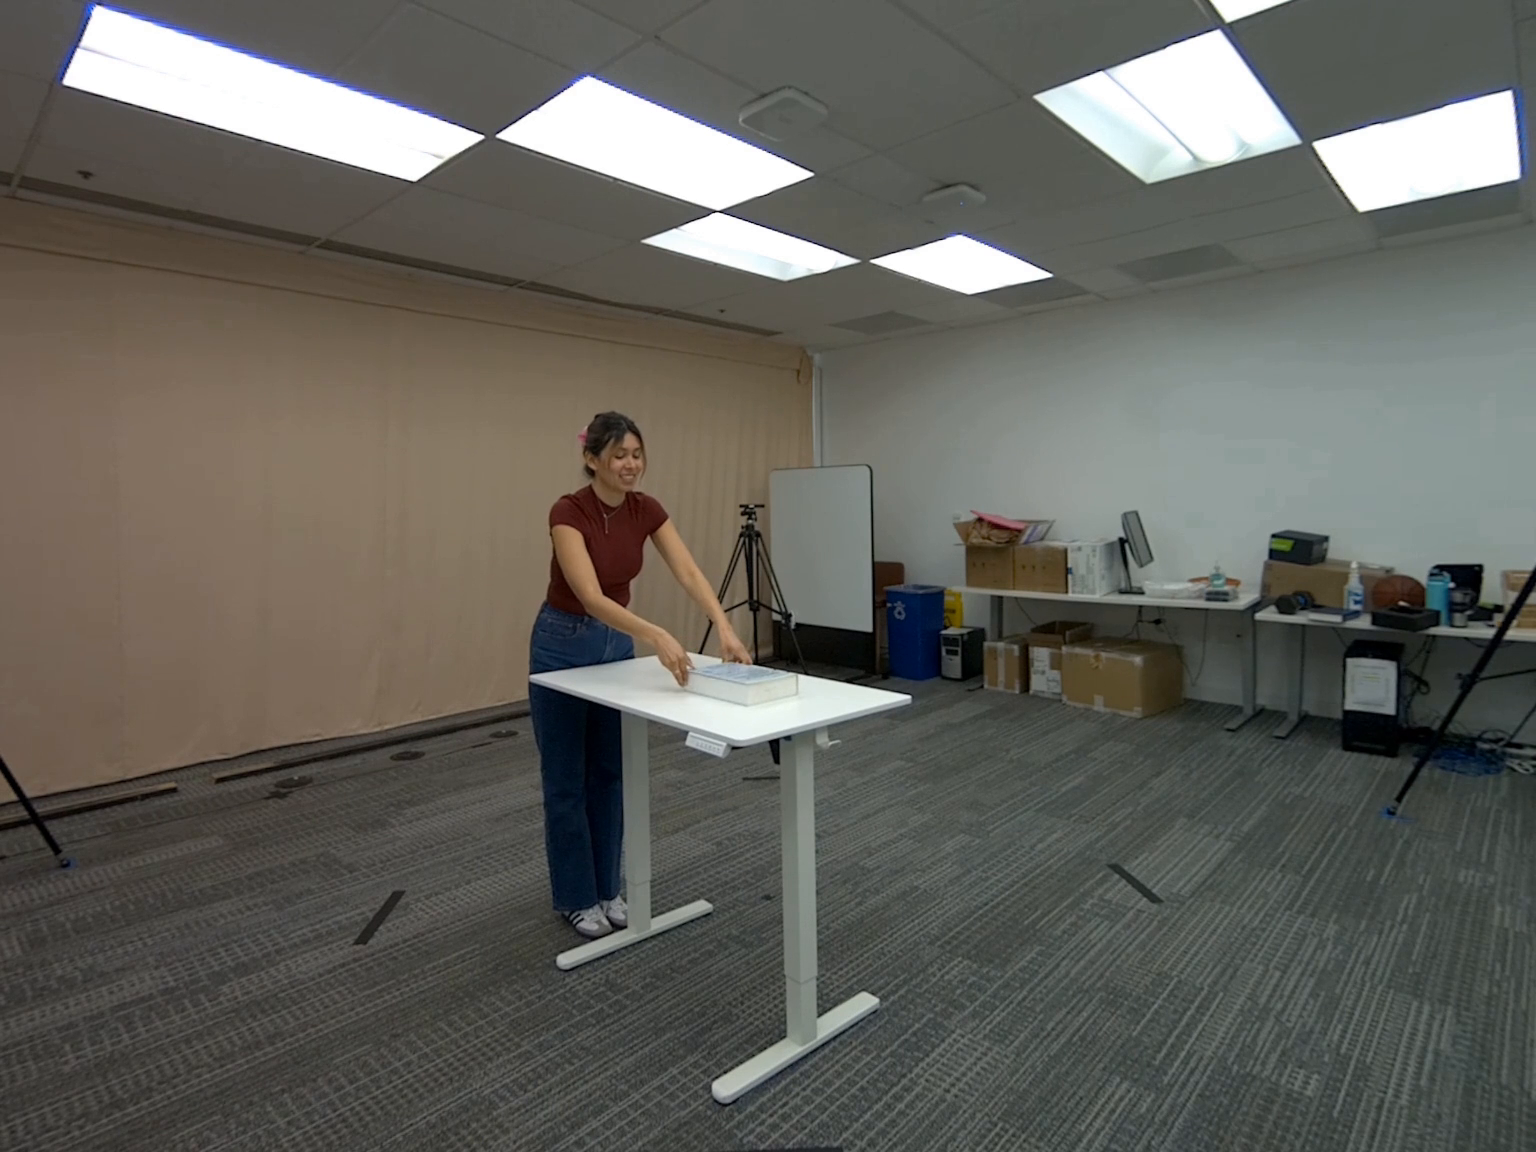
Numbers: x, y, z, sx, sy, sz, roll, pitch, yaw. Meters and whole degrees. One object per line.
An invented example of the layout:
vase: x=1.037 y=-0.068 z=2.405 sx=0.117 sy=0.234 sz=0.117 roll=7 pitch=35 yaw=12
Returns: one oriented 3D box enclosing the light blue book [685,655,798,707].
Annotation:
light blue book: x=-0.070 y=0.292 z=2.276 sx=0.185 sy=0.059 sz=0.270 roll=-4 pitch=5 yaw=-44
